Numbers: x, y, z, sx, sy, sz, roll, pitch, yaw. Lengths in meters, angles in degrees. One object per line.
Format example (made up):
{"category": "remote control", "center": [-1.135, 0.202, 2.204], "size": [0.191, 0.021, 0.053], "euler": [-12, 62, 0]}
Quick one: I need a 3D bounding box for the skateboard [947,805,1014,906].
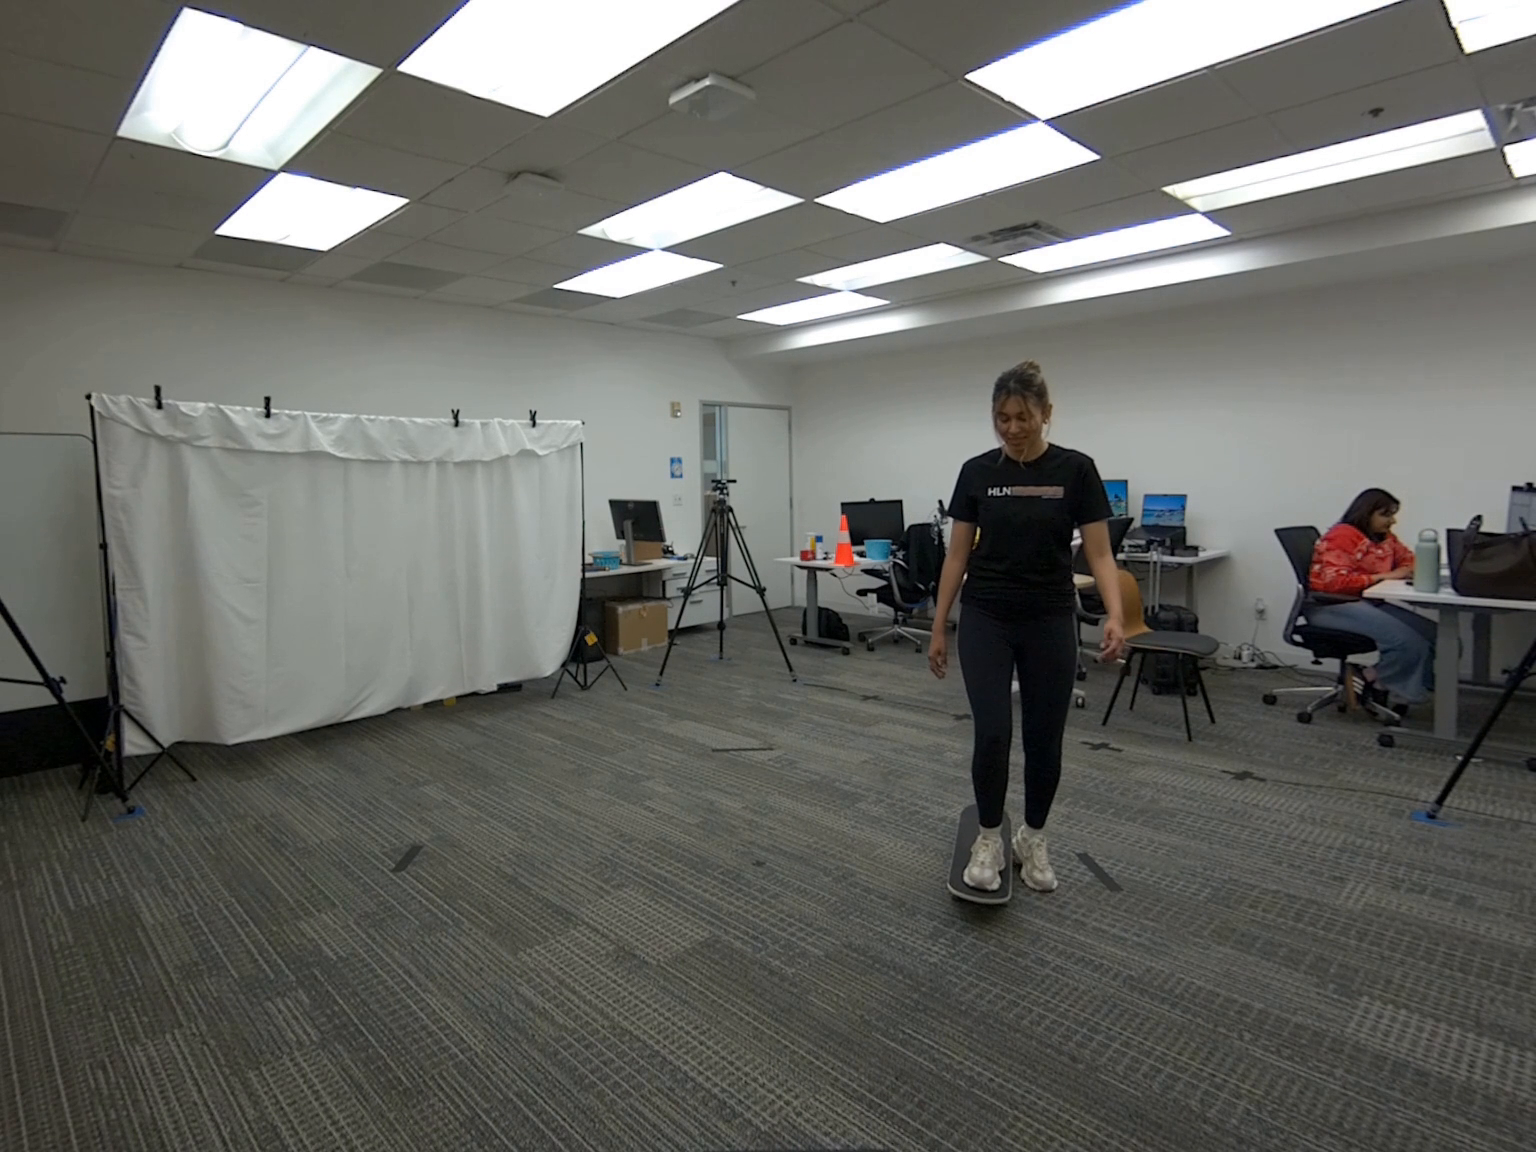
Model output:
{"category": "skateboard", "center": [0.752, 0.986, 2.982], "size": [0.196, 0.110, 0.777], "euler": [1, 7, 15]}
